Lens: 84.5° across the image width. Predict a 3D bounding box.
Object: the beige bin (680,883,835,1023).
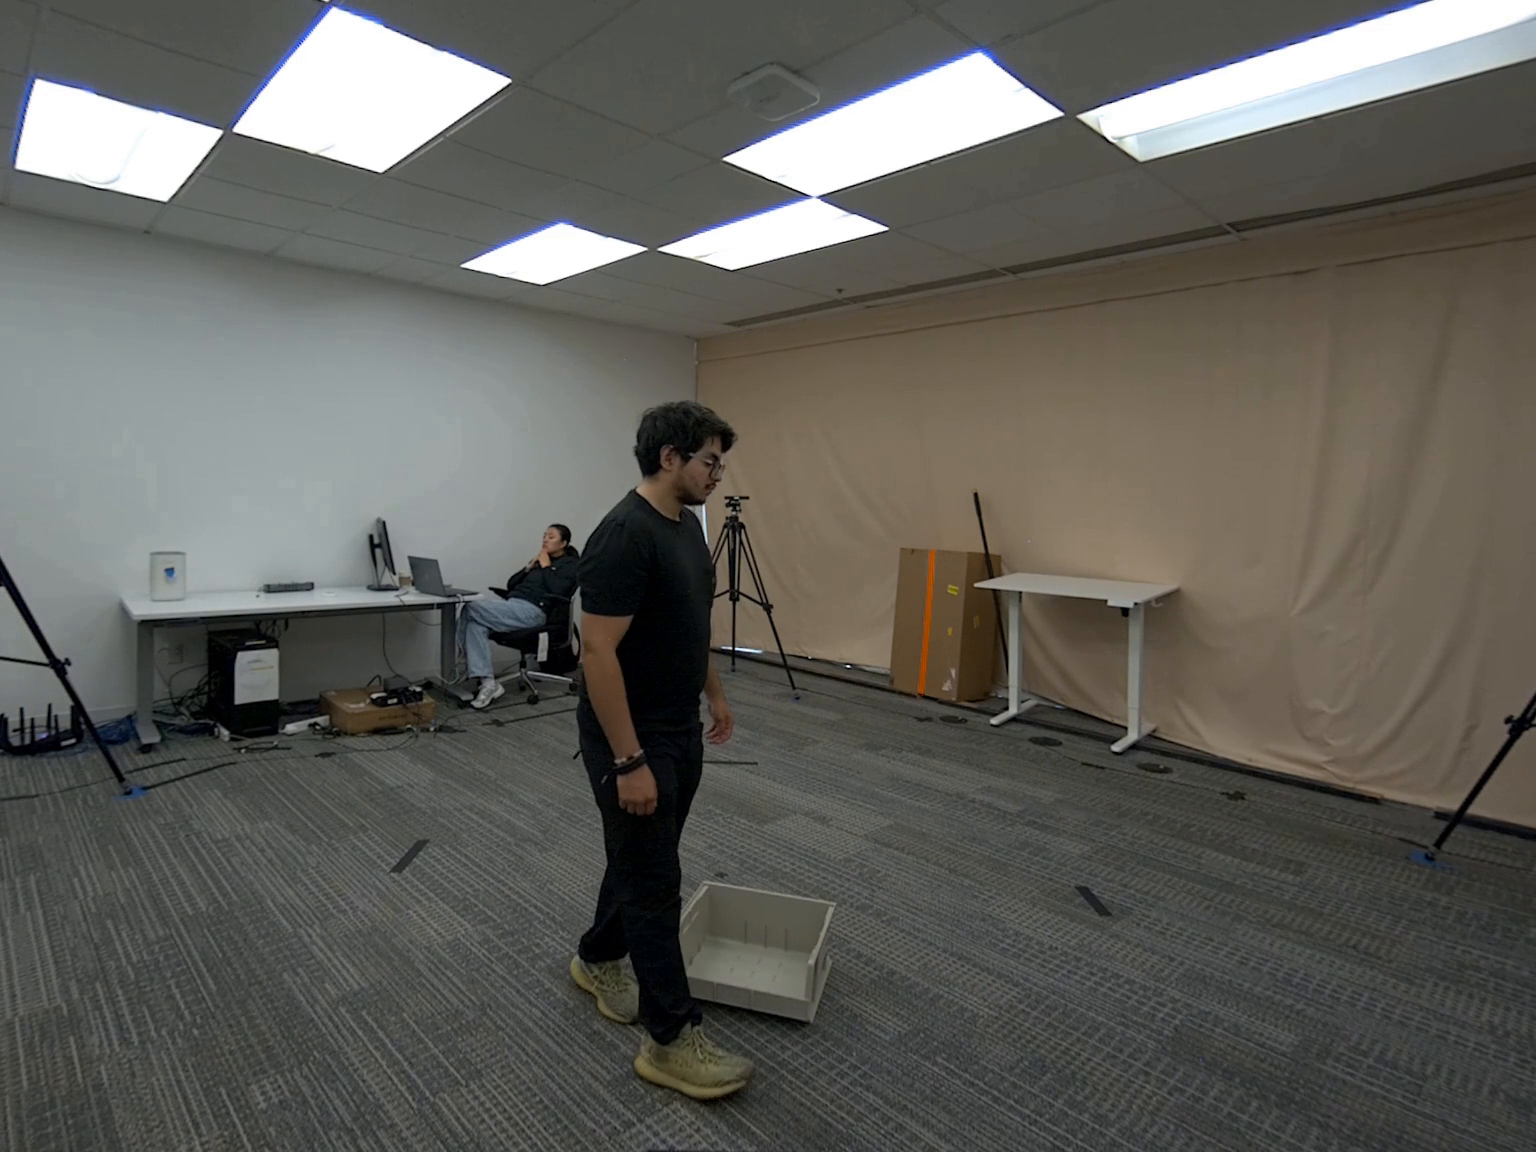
[{"bbox_3d":[-0.049,1.083,2.417,0.428,0.188,0.373,2,4,15],"label":"beige bin"}]
